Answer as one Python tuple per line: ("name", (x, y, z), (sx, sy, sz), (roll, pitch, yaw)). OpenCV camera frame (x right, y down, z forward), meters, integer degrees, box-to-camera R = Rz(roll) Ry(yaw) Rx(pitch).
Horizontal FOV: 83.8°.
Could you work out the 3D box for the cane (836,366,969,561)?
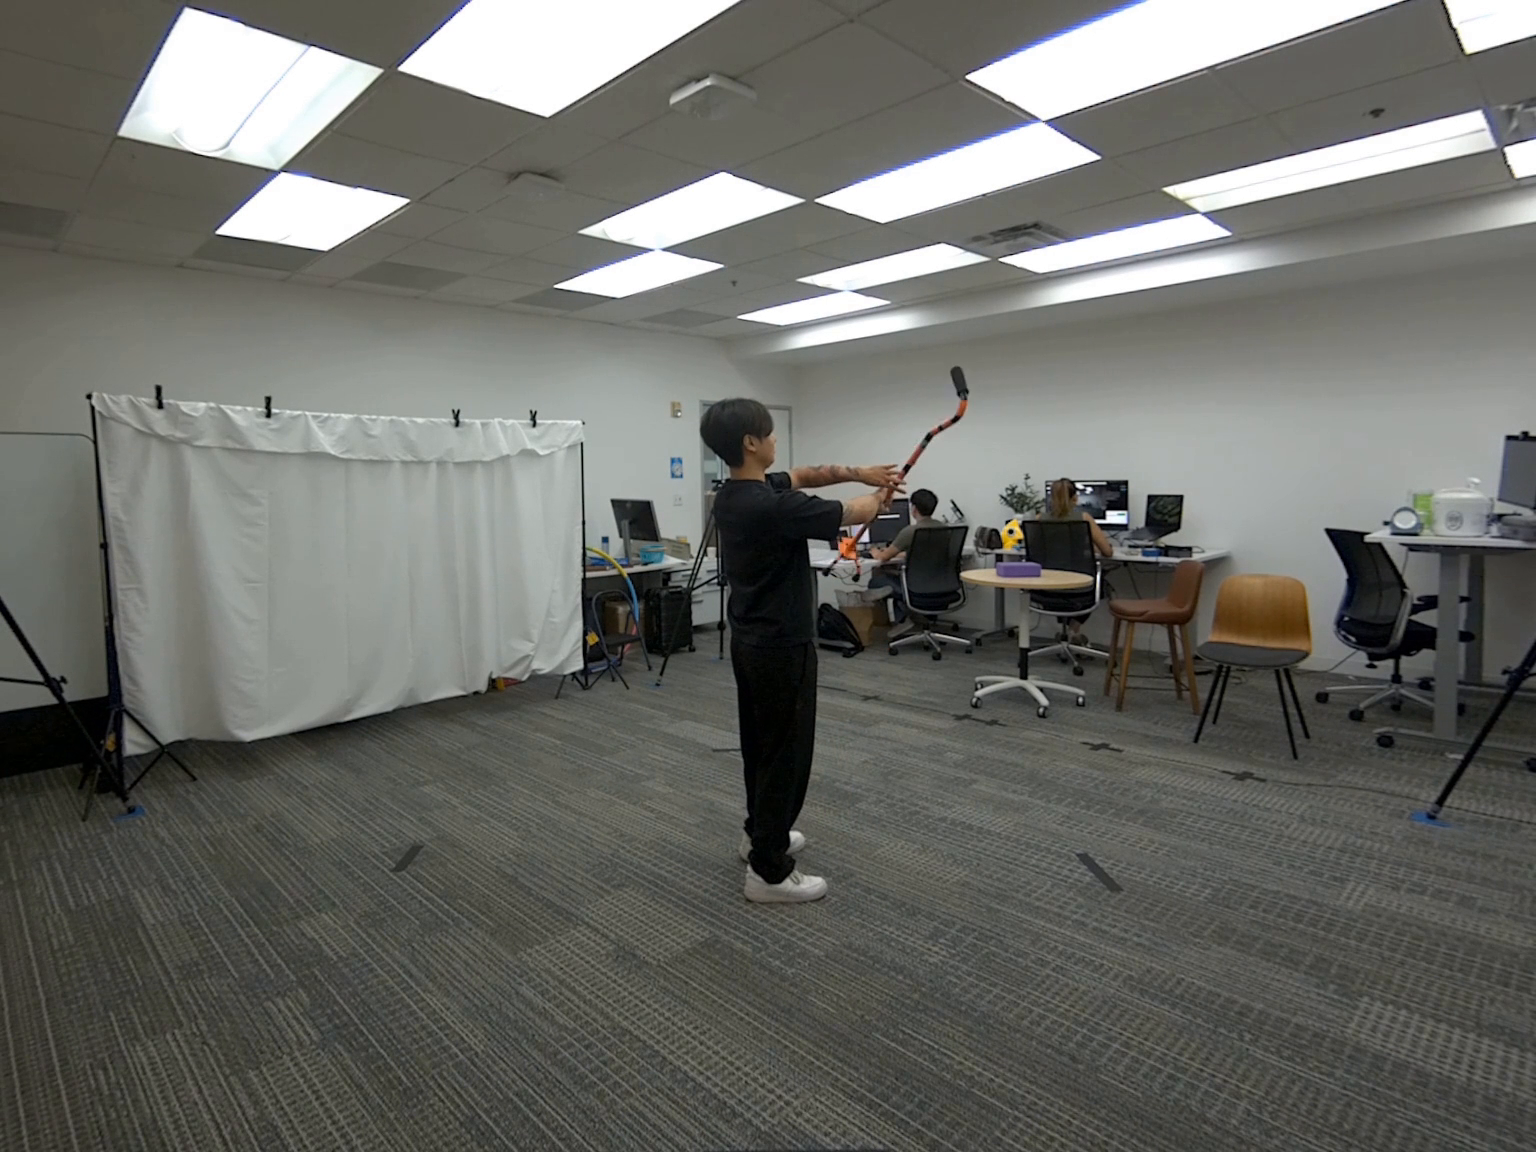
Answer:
("cane", (0.430, -0.317, 2.918), (0.149, 0.212, 0.899), (12, -39, -17))
